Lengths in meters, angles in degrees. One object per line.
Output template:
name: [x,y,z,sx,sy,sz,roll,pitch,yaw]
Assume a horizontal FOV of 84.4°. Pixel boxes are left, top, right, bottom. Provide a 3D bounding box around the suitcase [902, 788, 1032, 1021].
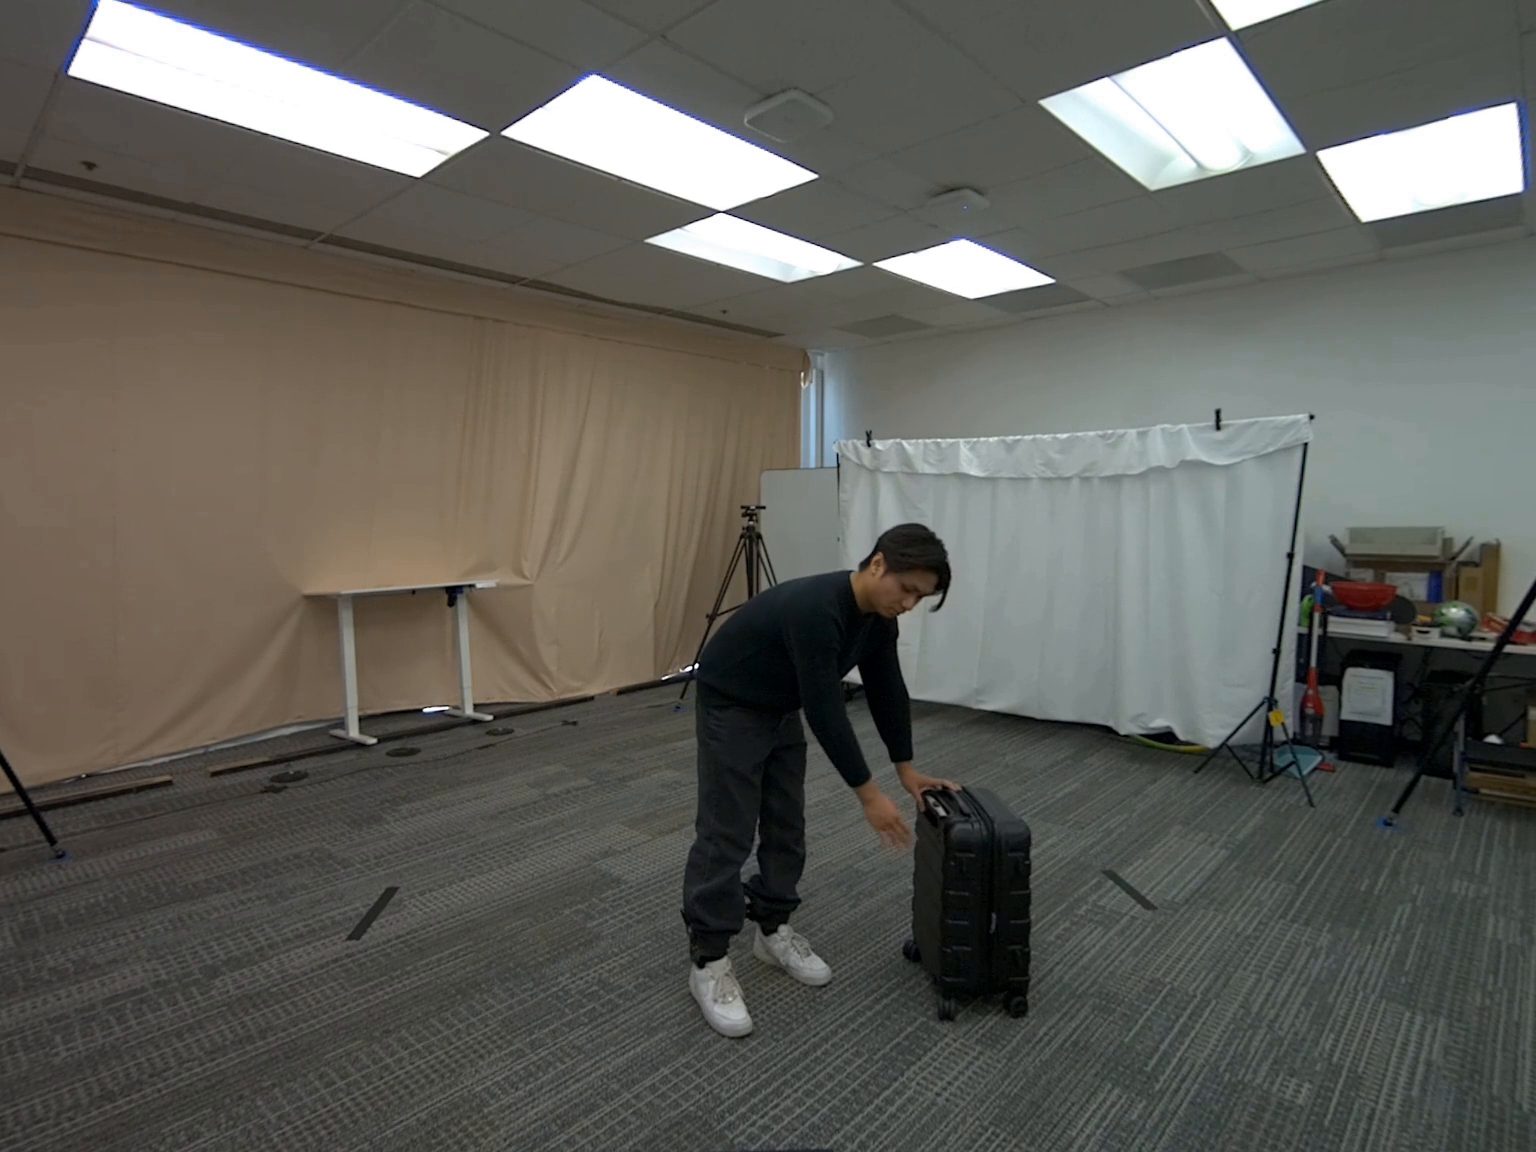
suitcase: [0.590,0.918,2.431,0.247,0.548,0.378,1,4,-5]
